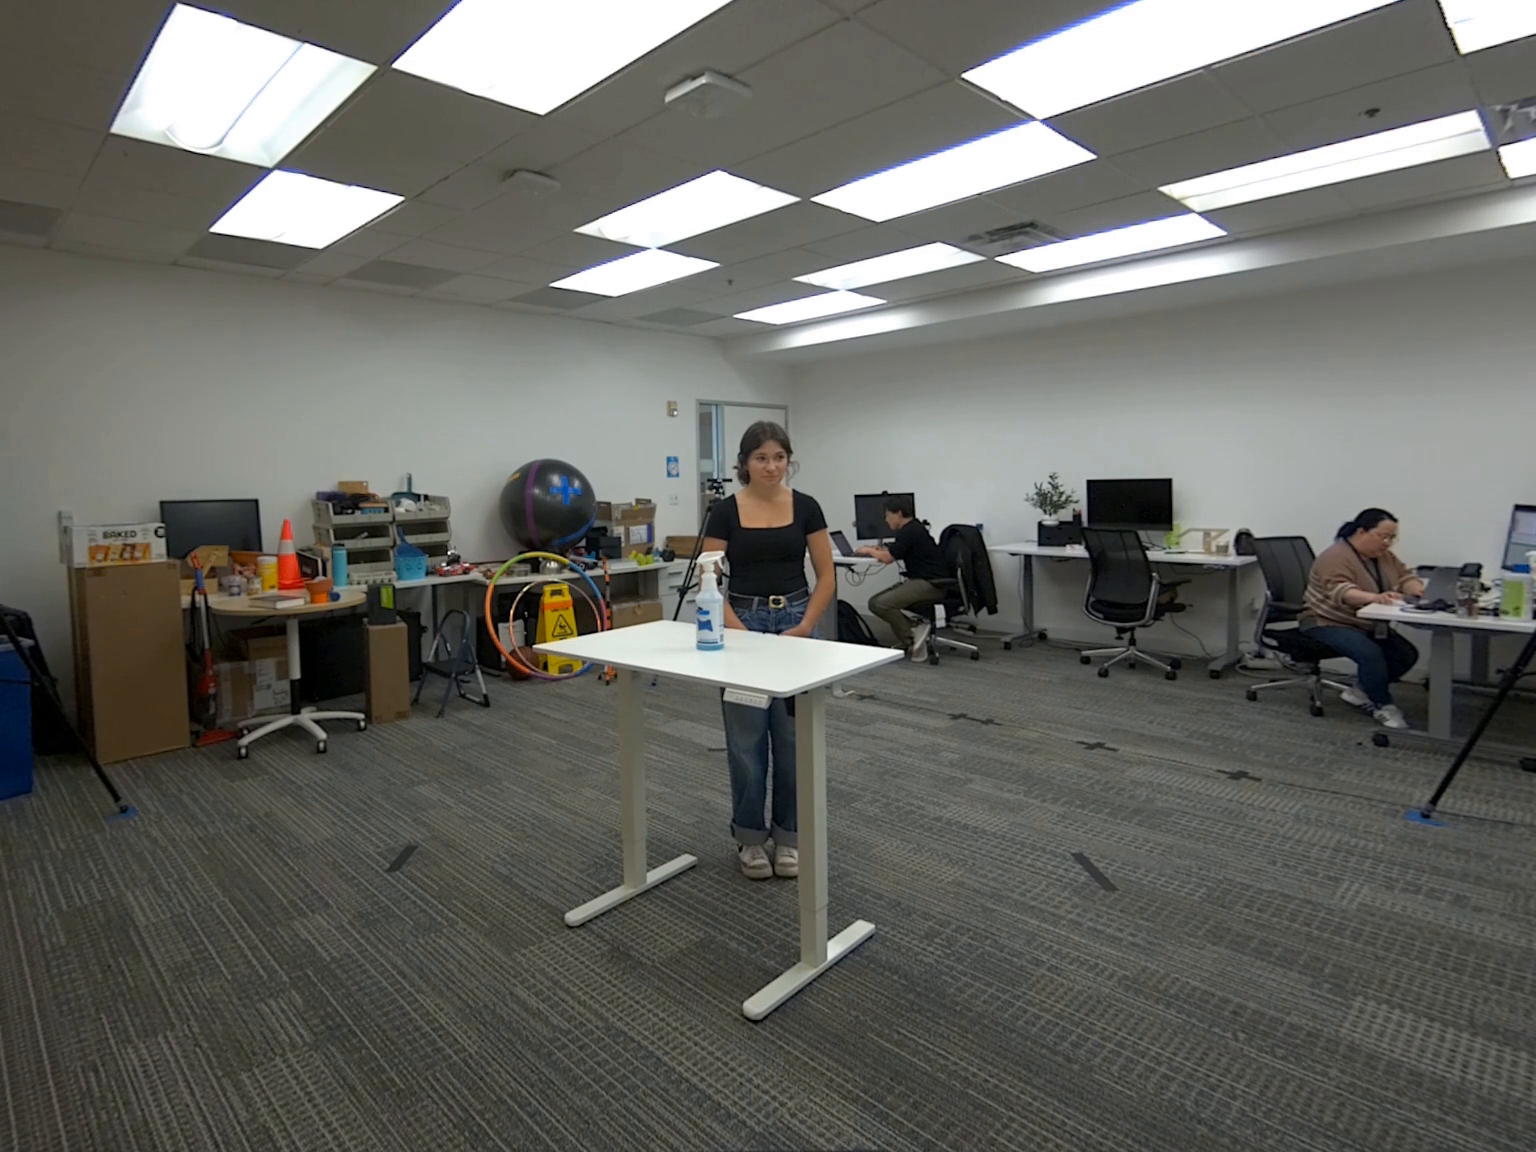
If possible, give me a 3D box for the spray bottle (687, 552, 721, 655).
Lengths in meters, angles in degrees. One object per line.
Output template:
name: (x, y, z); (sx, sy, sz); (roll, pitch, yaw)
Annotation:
spray bottle: (-0.196, 0.080, 2.612); (0.090, 0.296, 0.087); (-1, 3, 0)
